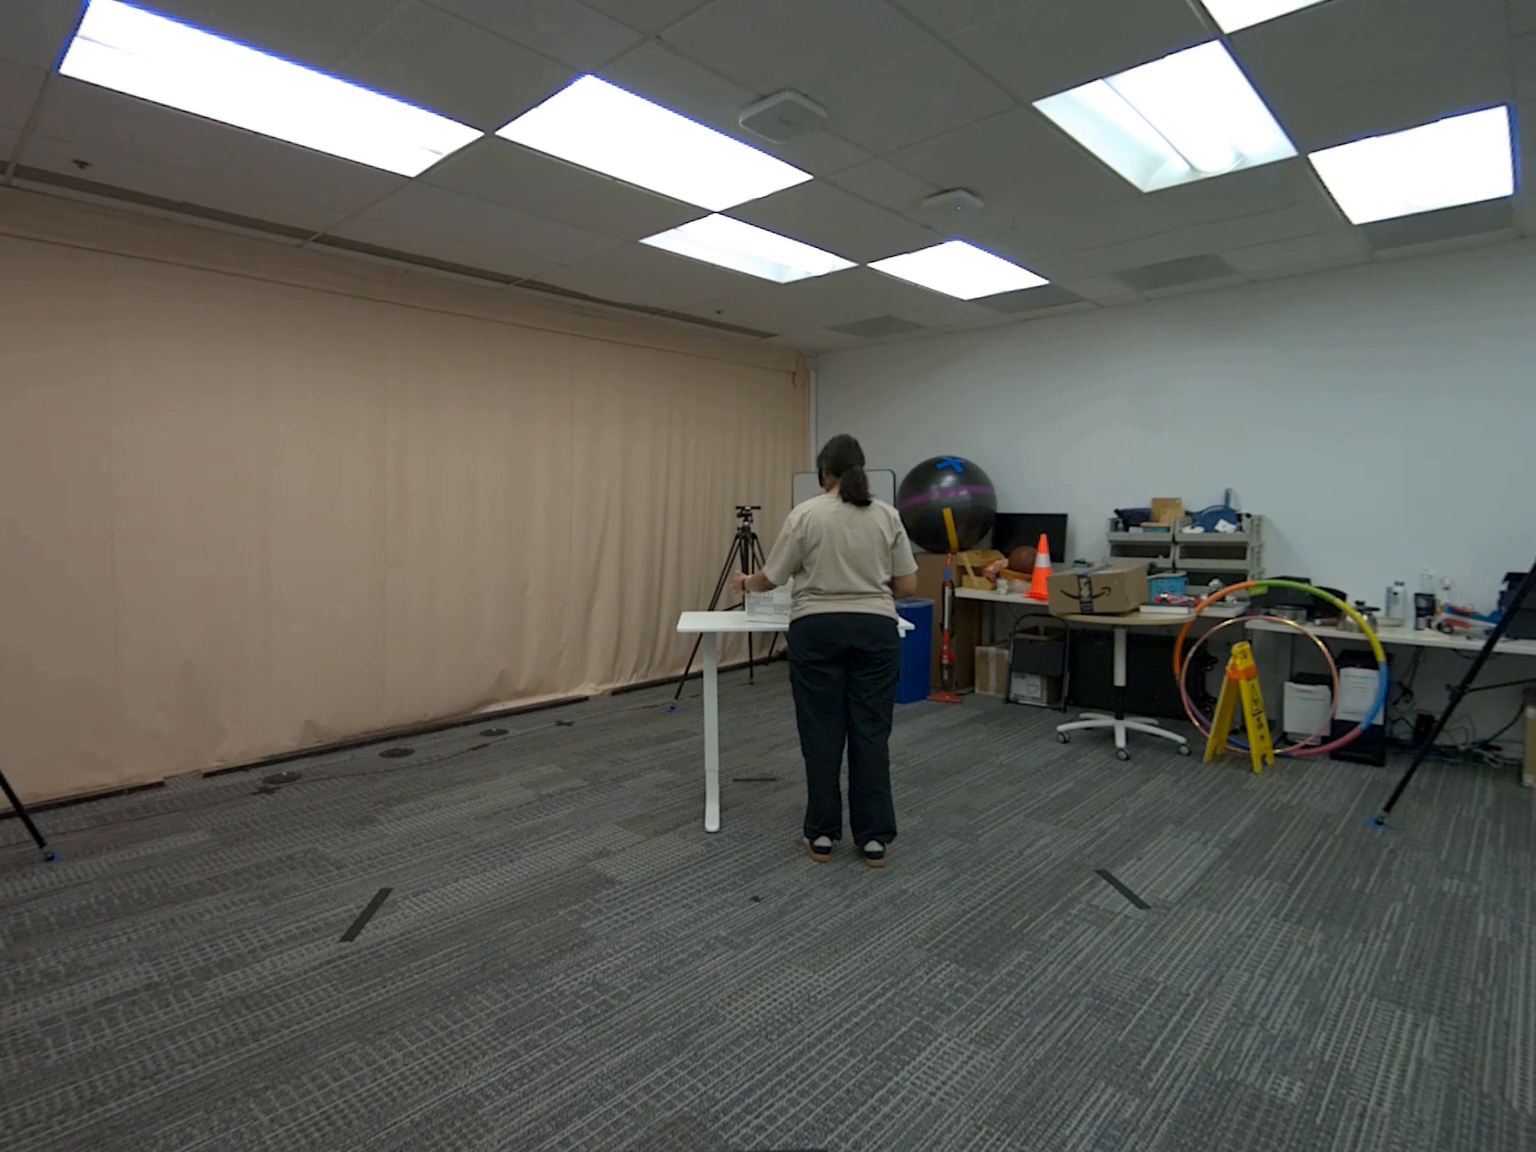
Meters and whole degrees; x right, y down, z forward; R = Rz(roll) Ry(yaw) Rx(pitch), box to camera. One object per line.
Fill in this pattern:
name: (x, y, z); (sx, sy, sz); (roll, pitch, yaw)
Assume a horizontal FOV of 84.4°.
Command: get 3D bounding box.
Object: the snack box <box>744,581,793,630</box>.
snack box: (0.145, 0.093, 3.819); (0.350, 0.205, 0.394); (2, 5, 32)
